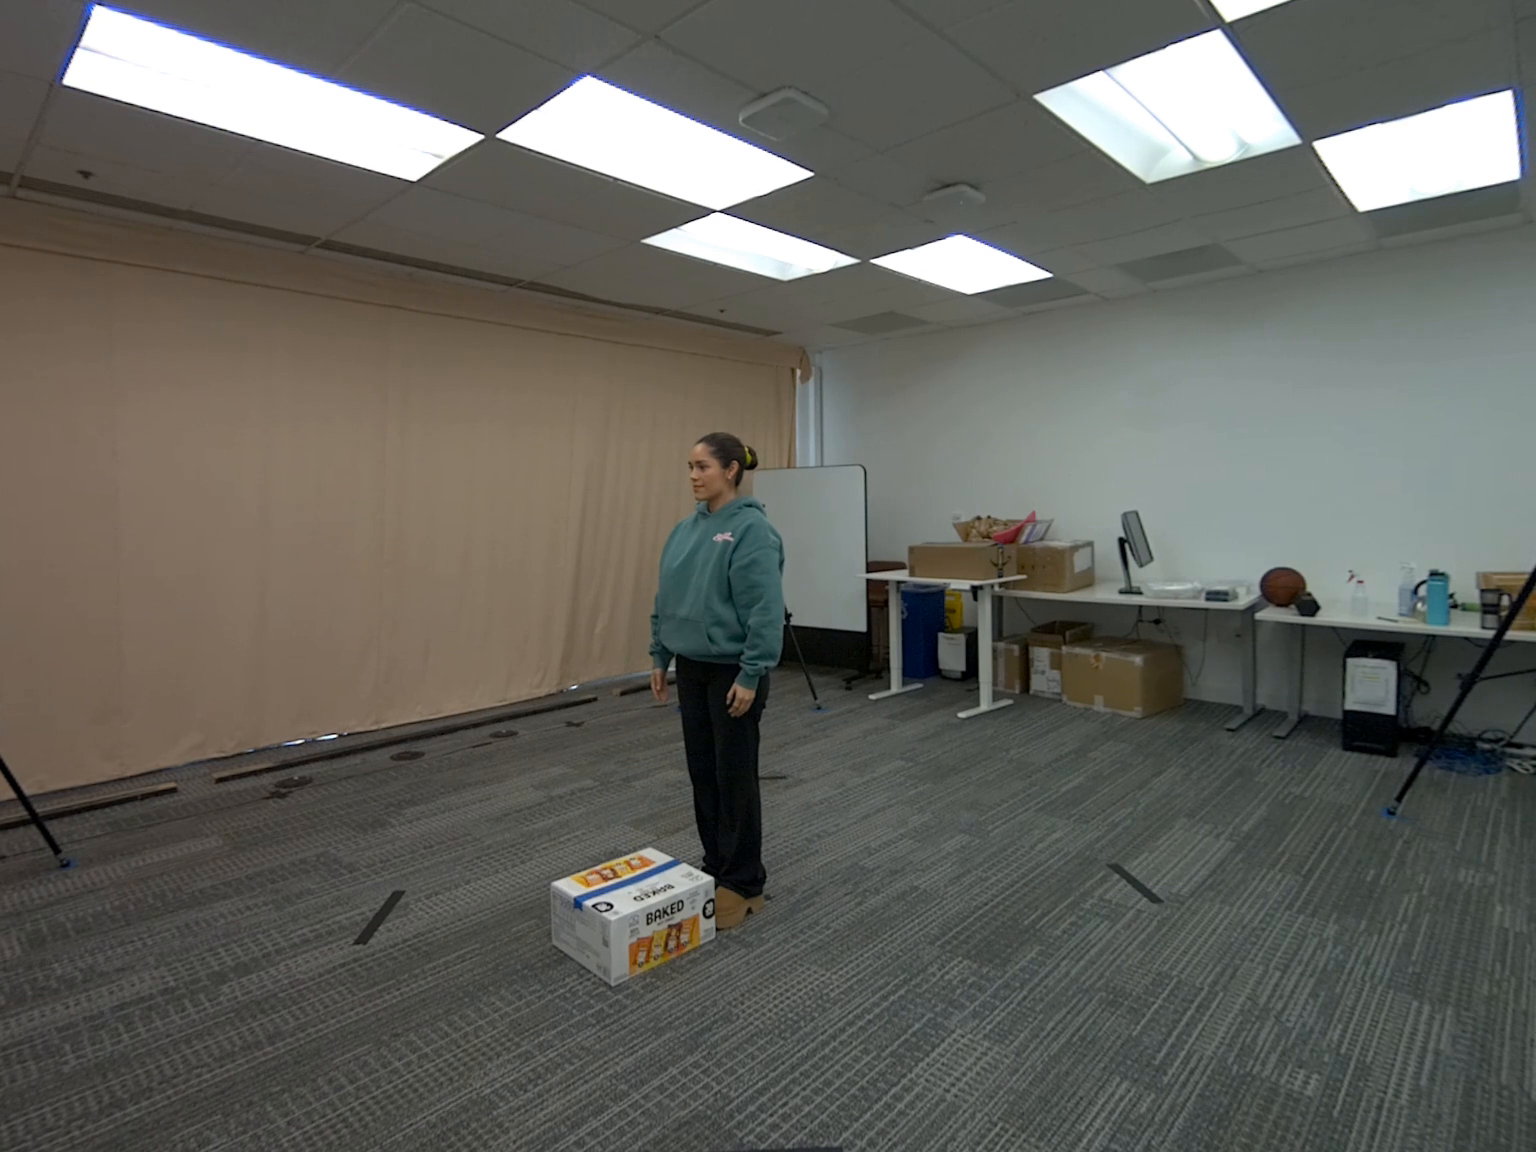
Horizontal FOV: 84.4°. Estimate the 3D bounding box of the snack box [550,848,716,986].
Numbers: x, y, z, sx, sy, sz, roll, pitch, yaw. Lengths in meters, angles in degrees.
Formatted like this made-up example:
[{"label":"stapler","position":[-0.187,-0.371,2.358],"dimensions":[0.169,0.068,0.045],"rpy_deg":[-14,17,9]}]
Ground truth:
[{"label":"snack box","position":[-0.433,1.075,2.685],"dimensions":[0.393,0.205,0.351],"rpy_deg":[-5,6,-43]}]
